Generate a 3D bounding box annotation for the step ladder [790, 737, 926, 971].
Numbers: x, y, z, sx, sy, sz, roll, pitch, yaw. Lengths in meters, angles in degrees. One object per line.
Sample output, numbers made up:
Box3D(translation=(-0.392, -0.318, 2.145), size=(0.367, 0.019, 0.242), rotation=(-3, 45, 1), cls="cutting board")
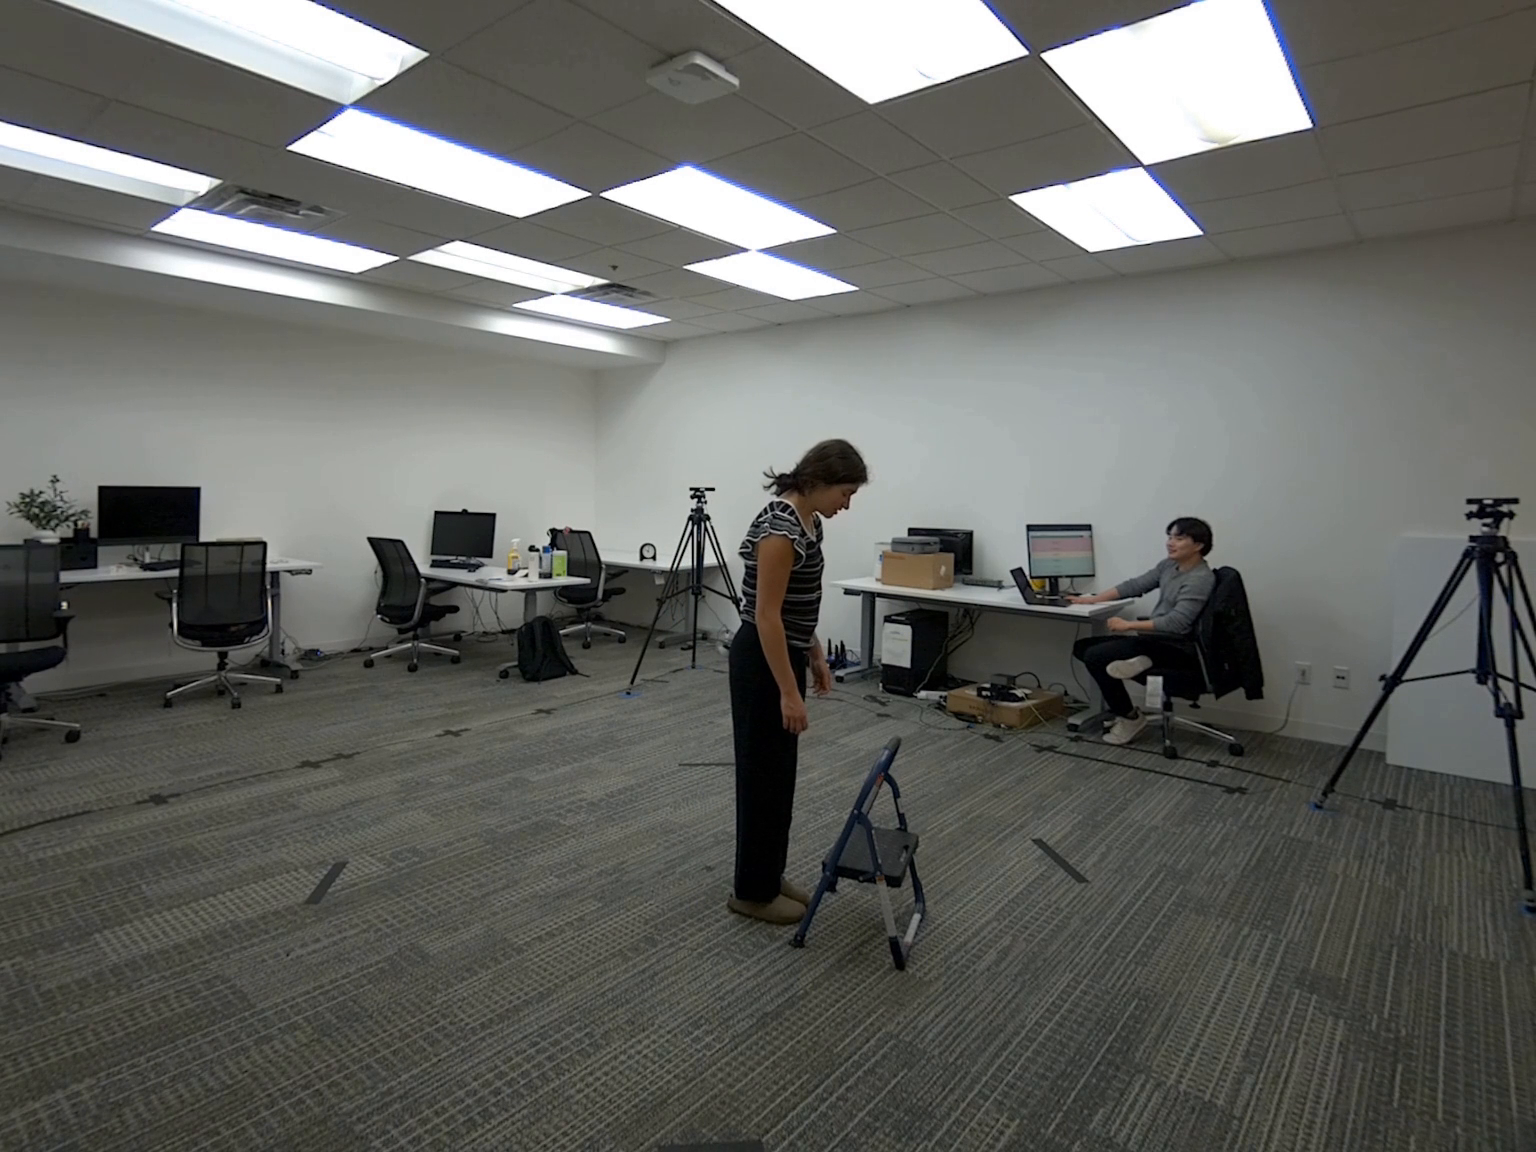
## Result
Box3D(translation=(0.305, 0.818, 2.701), size=(0.357, 0.604, 0.422), rotation=(3, 4, 20), cls="step ladder")
